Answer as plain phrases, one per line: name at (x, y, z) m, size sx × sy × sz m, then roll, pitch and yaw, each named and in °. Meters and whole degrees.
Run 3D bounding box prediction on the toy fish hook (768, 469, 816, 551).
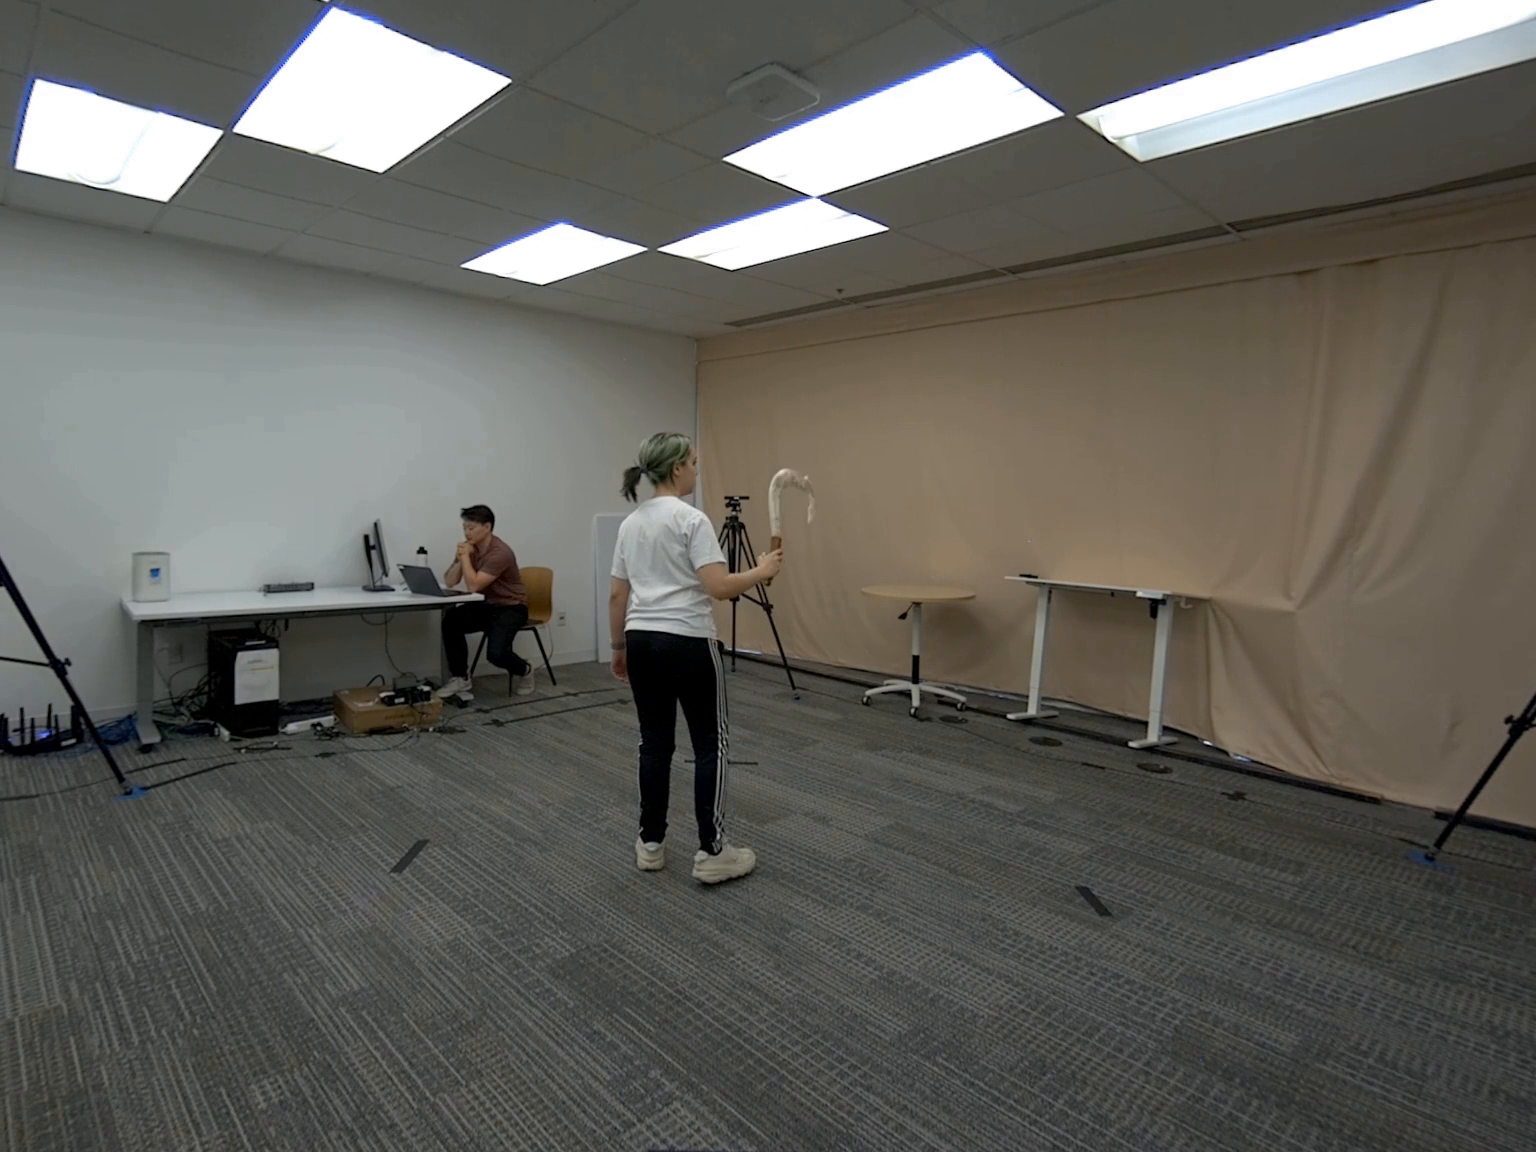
toy fish hook at (0.074, -0.174, 3.282) m, size 0.220 × 0.512 × 0.048 m, roll 20°, pitch -23°, yaw -20°
